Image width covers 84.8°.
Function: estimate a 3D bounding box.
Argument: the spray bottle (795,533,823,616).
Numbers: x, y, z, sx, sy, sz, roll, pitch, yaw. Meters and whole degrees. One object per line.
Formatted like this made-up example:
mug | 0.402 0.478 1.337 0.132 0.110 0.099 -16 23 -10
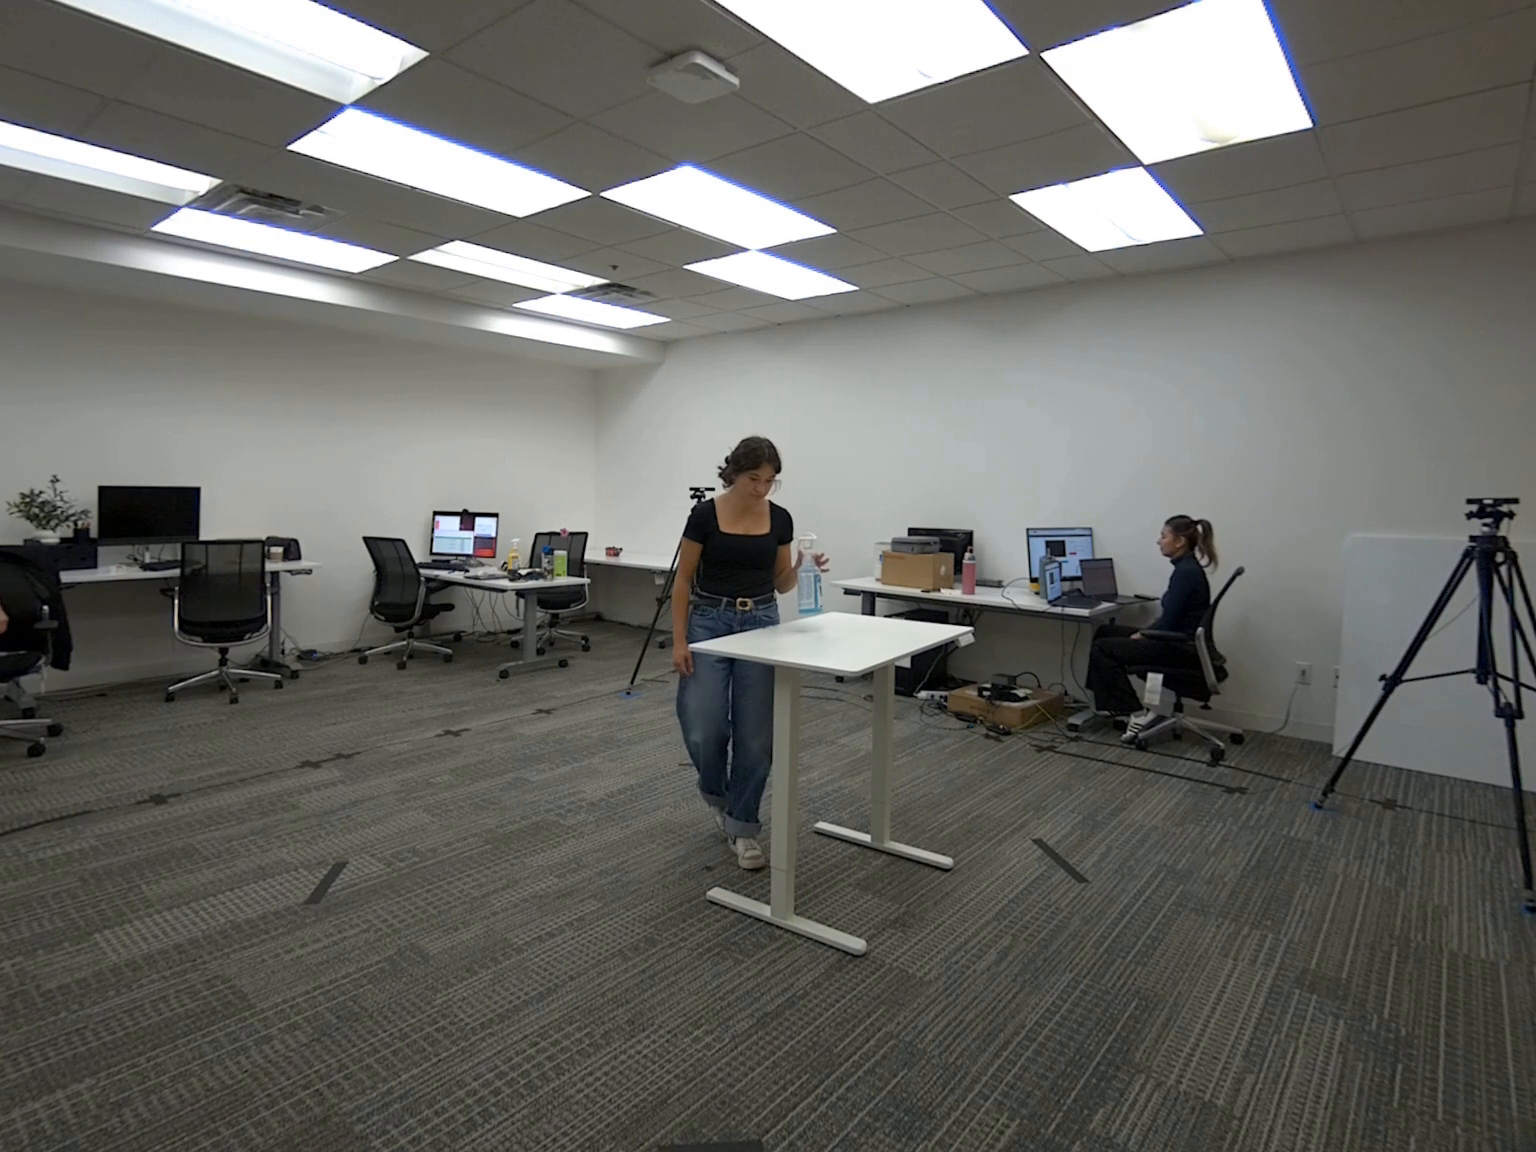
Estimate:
spray bottle | 0.142 -0.014 3.082 0.085 0.301 0.091 1 -12 -26
